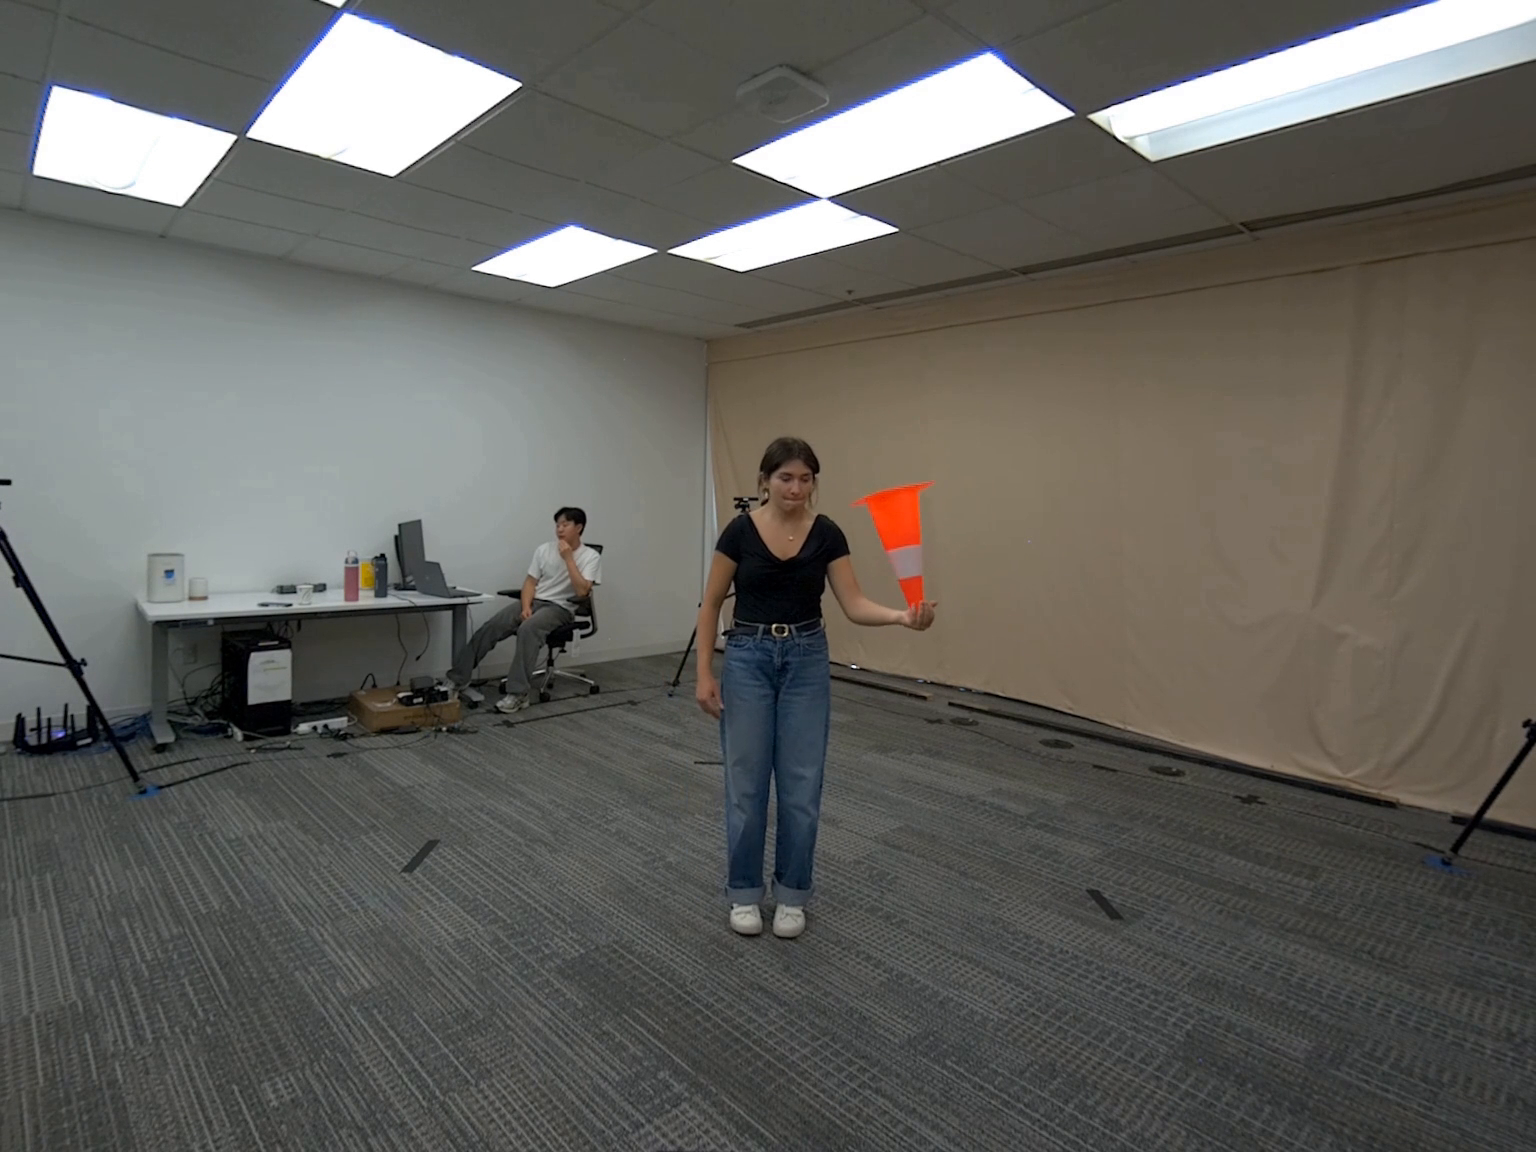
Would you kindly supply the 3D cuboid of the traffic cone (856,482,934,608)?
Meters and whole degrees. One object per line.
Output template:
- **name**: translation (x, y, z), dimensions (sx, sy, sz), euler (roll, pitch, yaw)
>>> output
- **traffic cone**: translation (0.382, -0.054, 2.481), dimensions (0.201, 0.386, 0.206), euler (-9, -8, -18)
